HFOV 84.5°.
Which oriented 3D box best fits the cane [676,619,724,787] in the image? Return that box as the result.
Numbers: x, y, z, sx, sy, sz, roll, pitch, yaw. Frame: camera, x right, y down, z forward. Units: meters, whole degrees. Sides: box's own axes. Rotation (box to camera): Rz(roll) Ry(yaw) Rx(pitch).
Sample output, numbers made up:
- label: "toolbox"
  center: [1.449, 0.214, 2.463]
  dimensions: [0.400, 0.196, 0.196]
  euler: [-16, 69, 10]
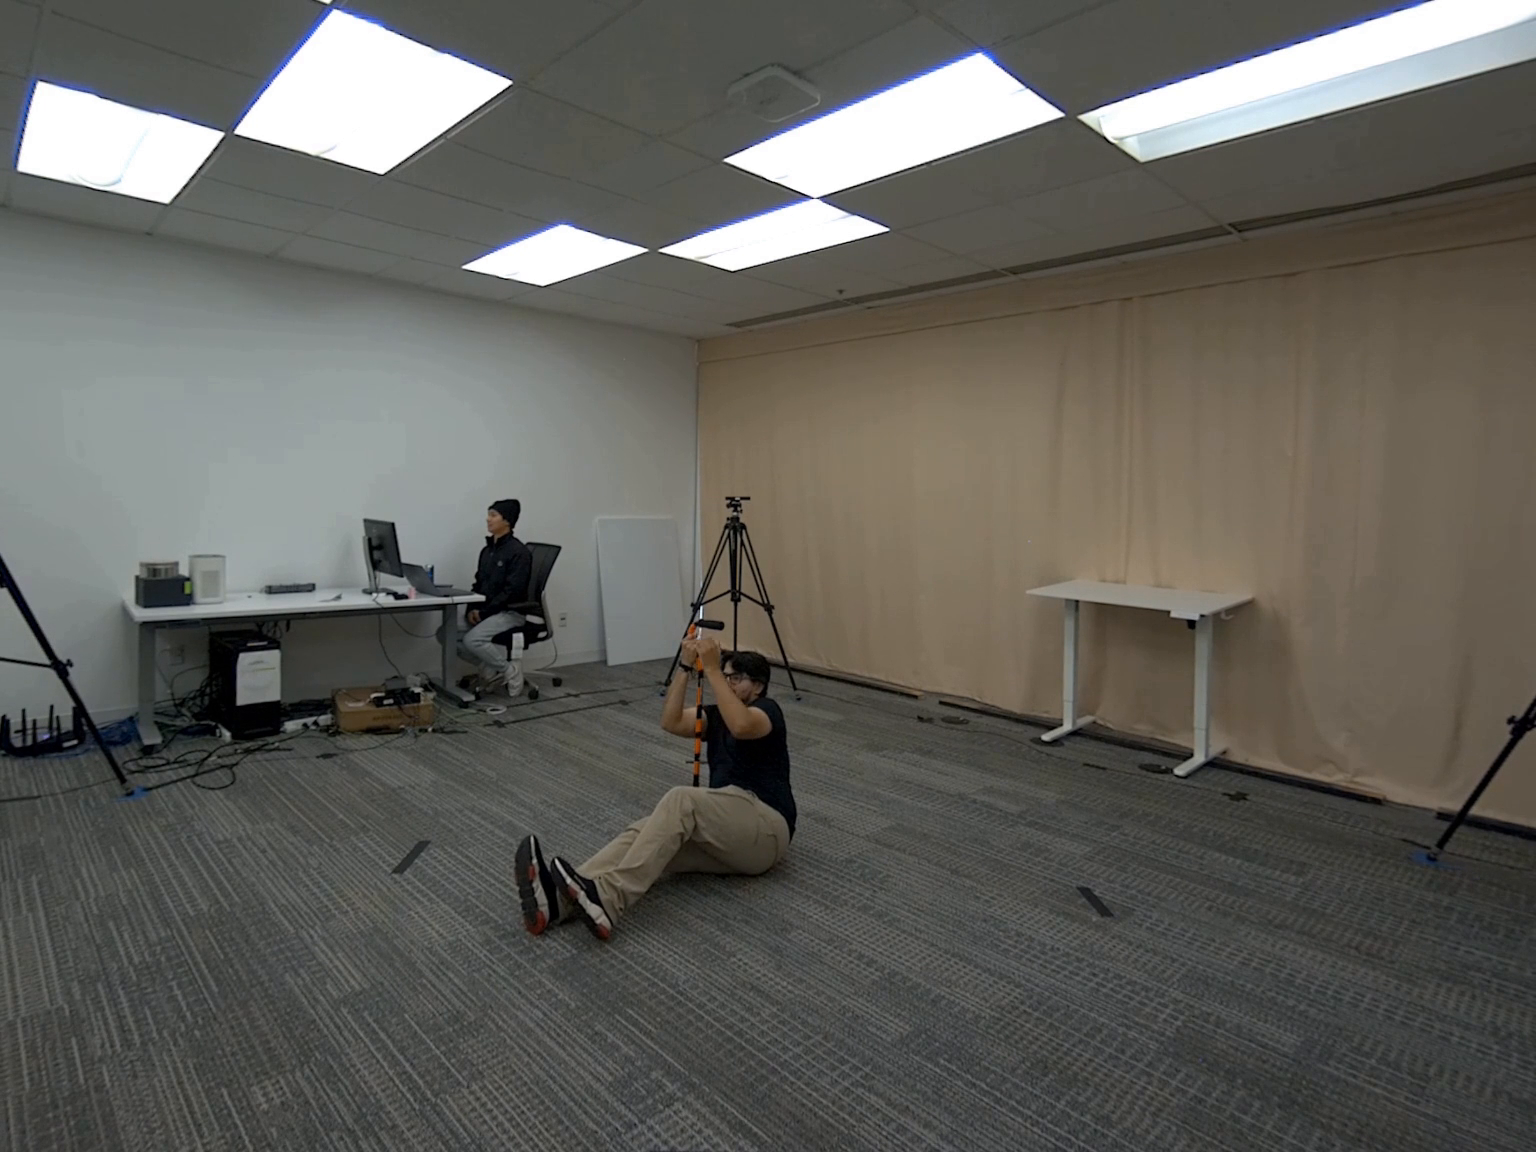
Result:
- label: "cane"
  center: [-0.270, 0.626, 3.363]
  dimensions: [0.211, 0.906, 0.148]
  euler: [3, 3, 37]
